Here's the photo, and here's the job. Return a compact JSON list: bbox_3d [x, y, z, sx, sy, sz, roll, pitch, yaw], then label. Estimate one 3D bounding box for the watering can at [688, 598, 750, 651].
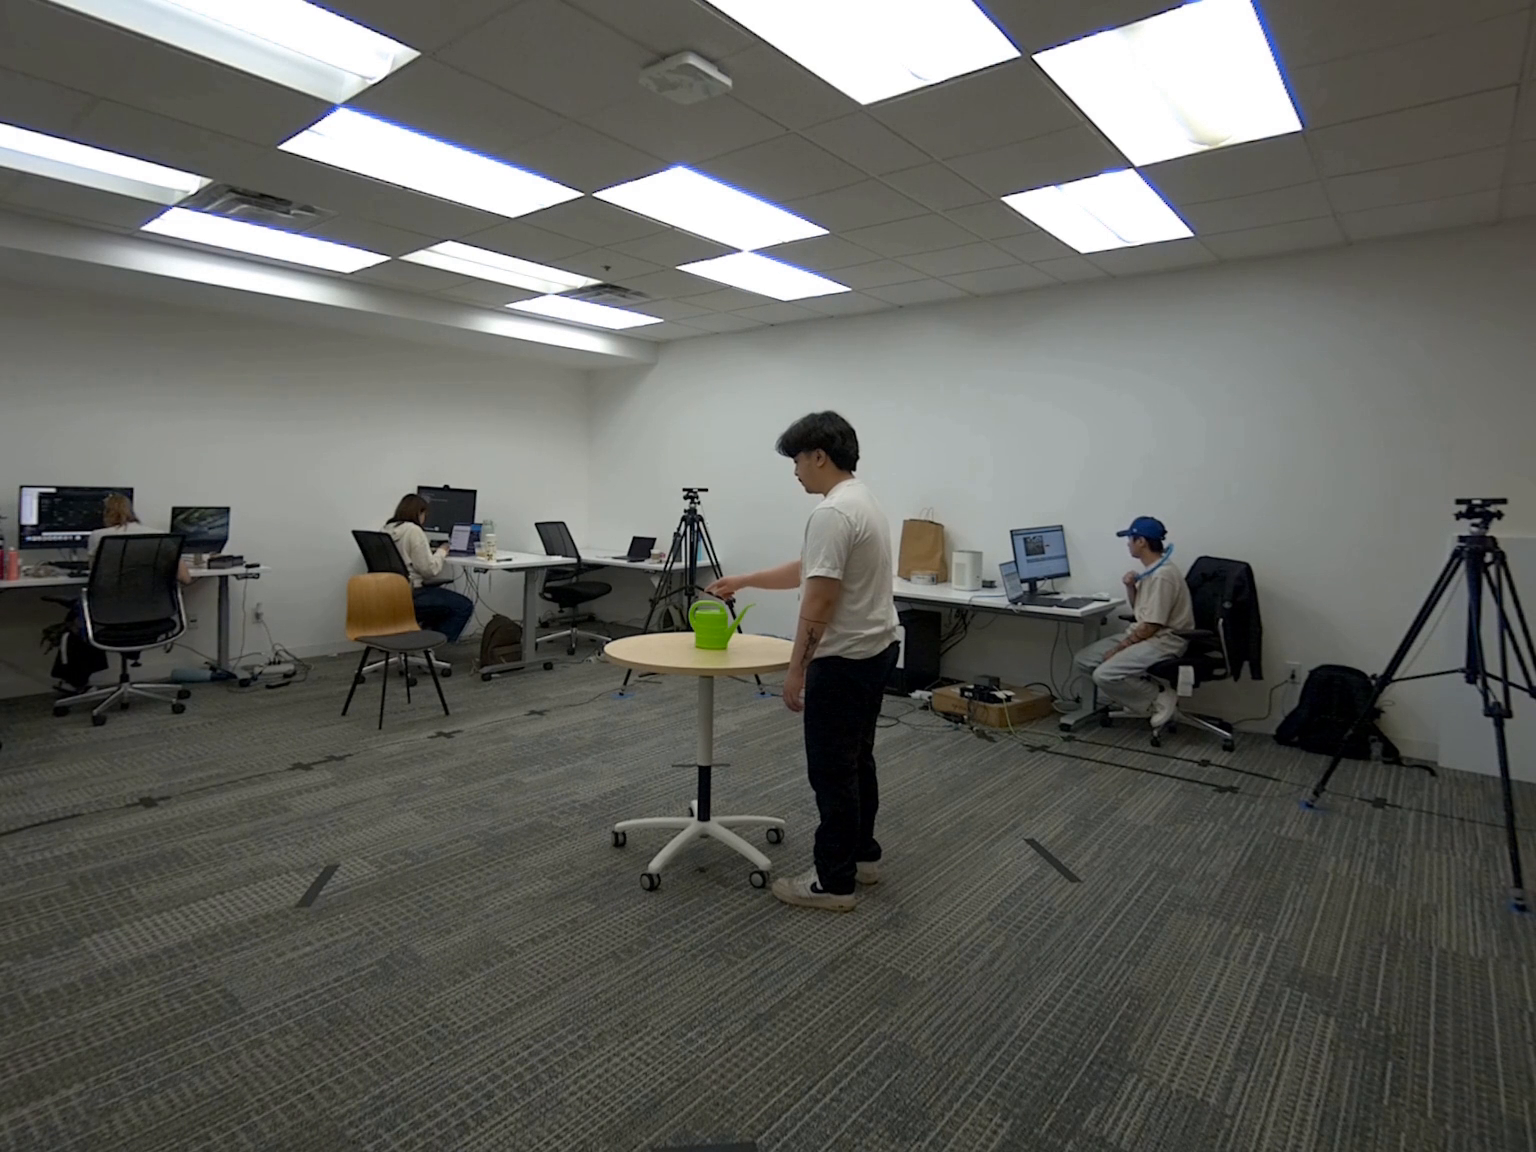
[{"bbox_3d":[-0.192,0.179,3.187,0.287,0.176,0.095,2,4,33],"label":"watering can"}]
